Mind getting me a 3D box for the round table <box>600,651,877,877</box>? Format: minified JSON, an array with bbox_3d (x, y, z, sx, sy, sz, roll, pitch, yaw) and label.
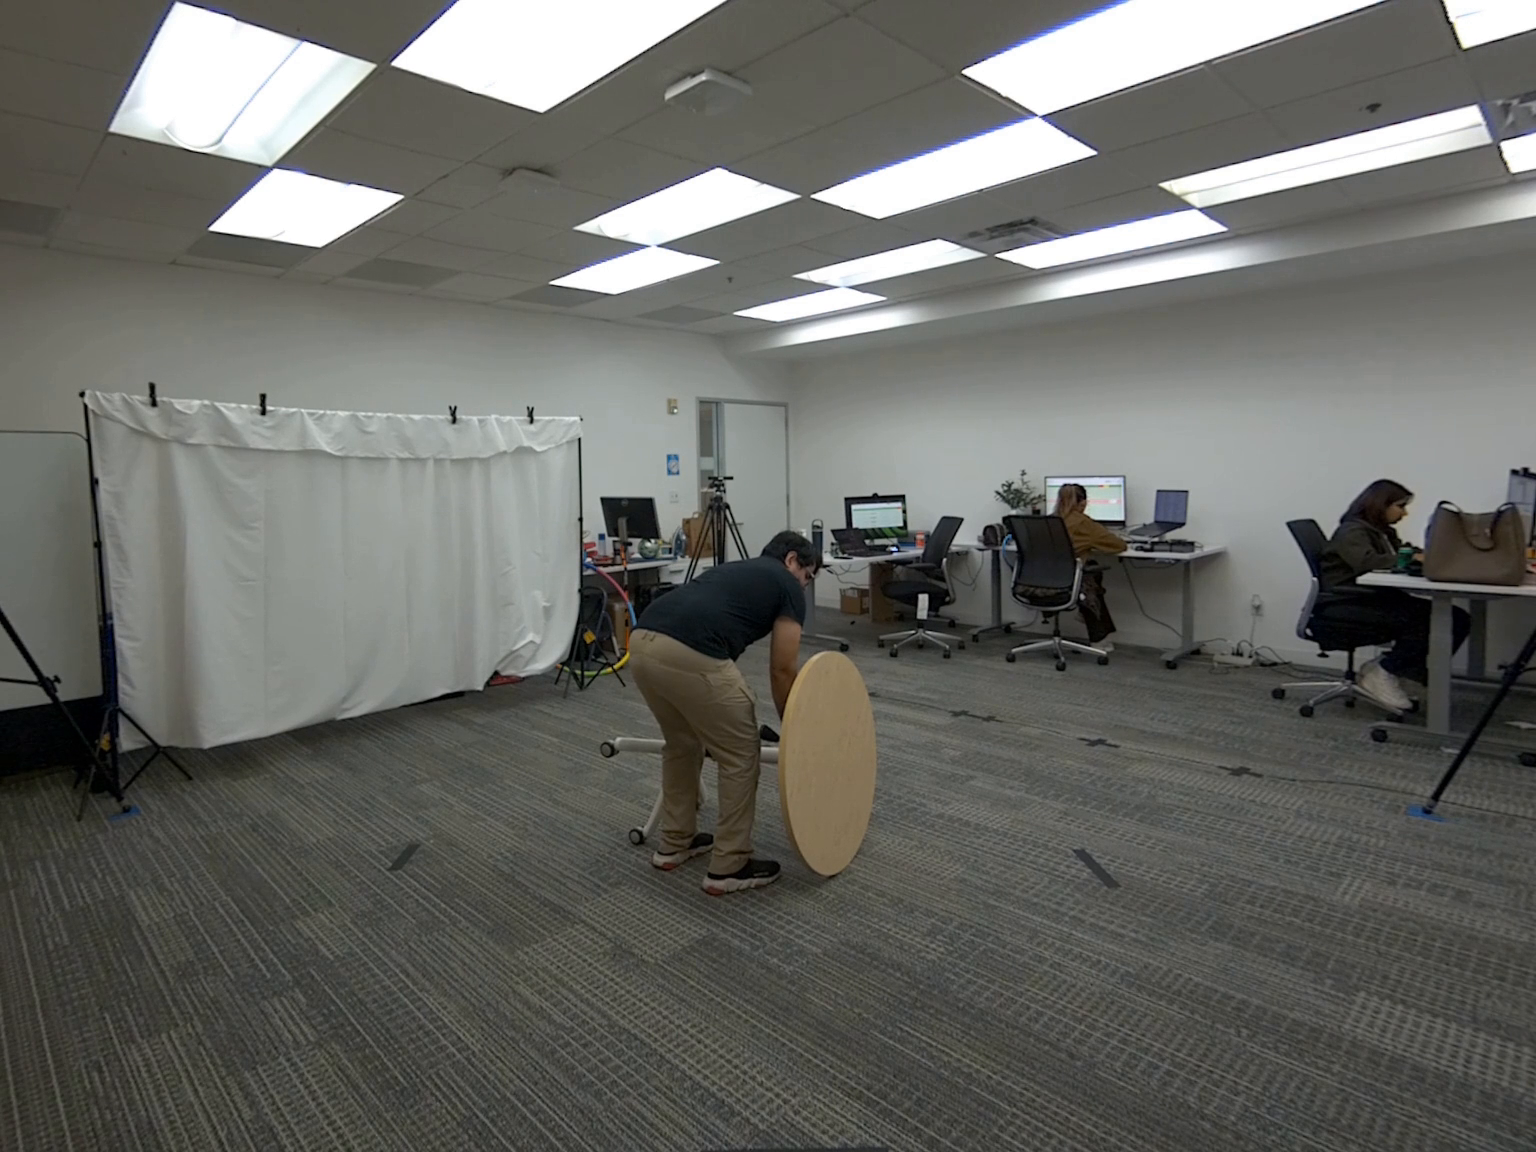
[{"bbox_3d":[-0.106,0.661,3.250,0.806,0.783,0.768,-3,3,30],"label":"round table"}]
